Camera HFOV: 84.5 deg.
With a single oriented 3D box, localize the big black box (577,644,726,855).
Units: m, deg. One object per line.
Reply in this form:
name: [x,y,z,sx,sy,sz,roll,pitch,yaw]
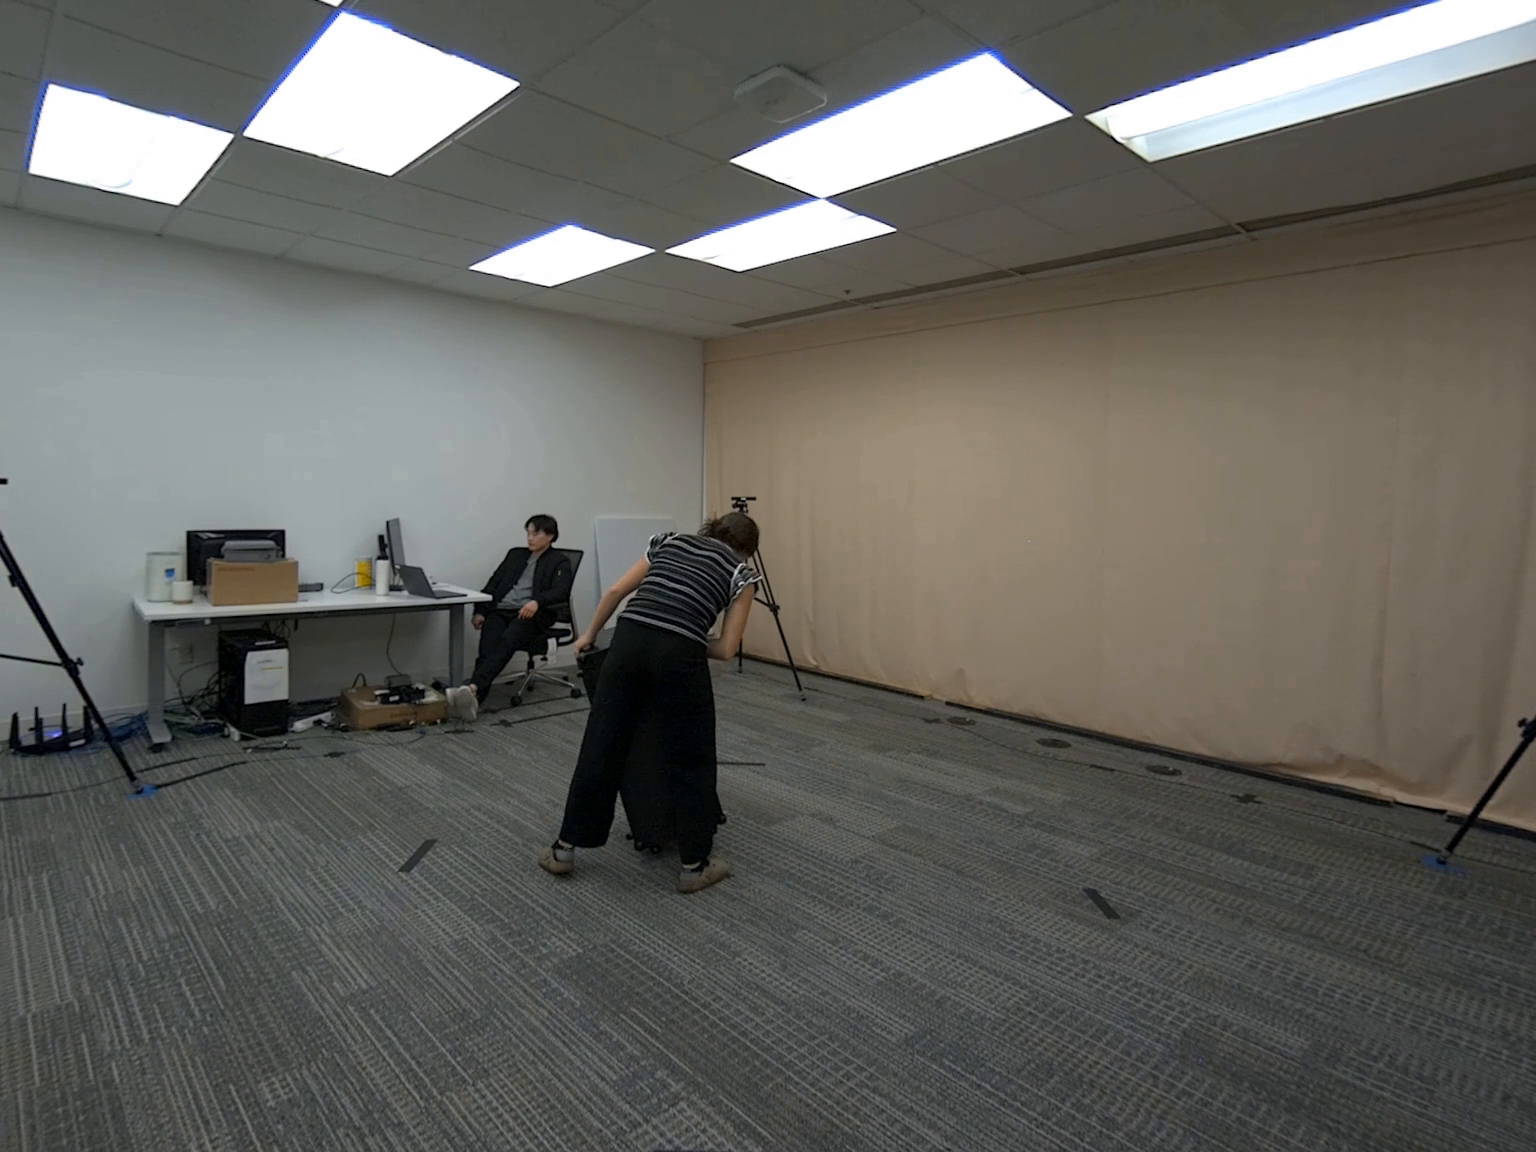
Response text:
big black box: [-0.485,0.639,3.415,0.395,0.857,0.525,-17,5,-6]
